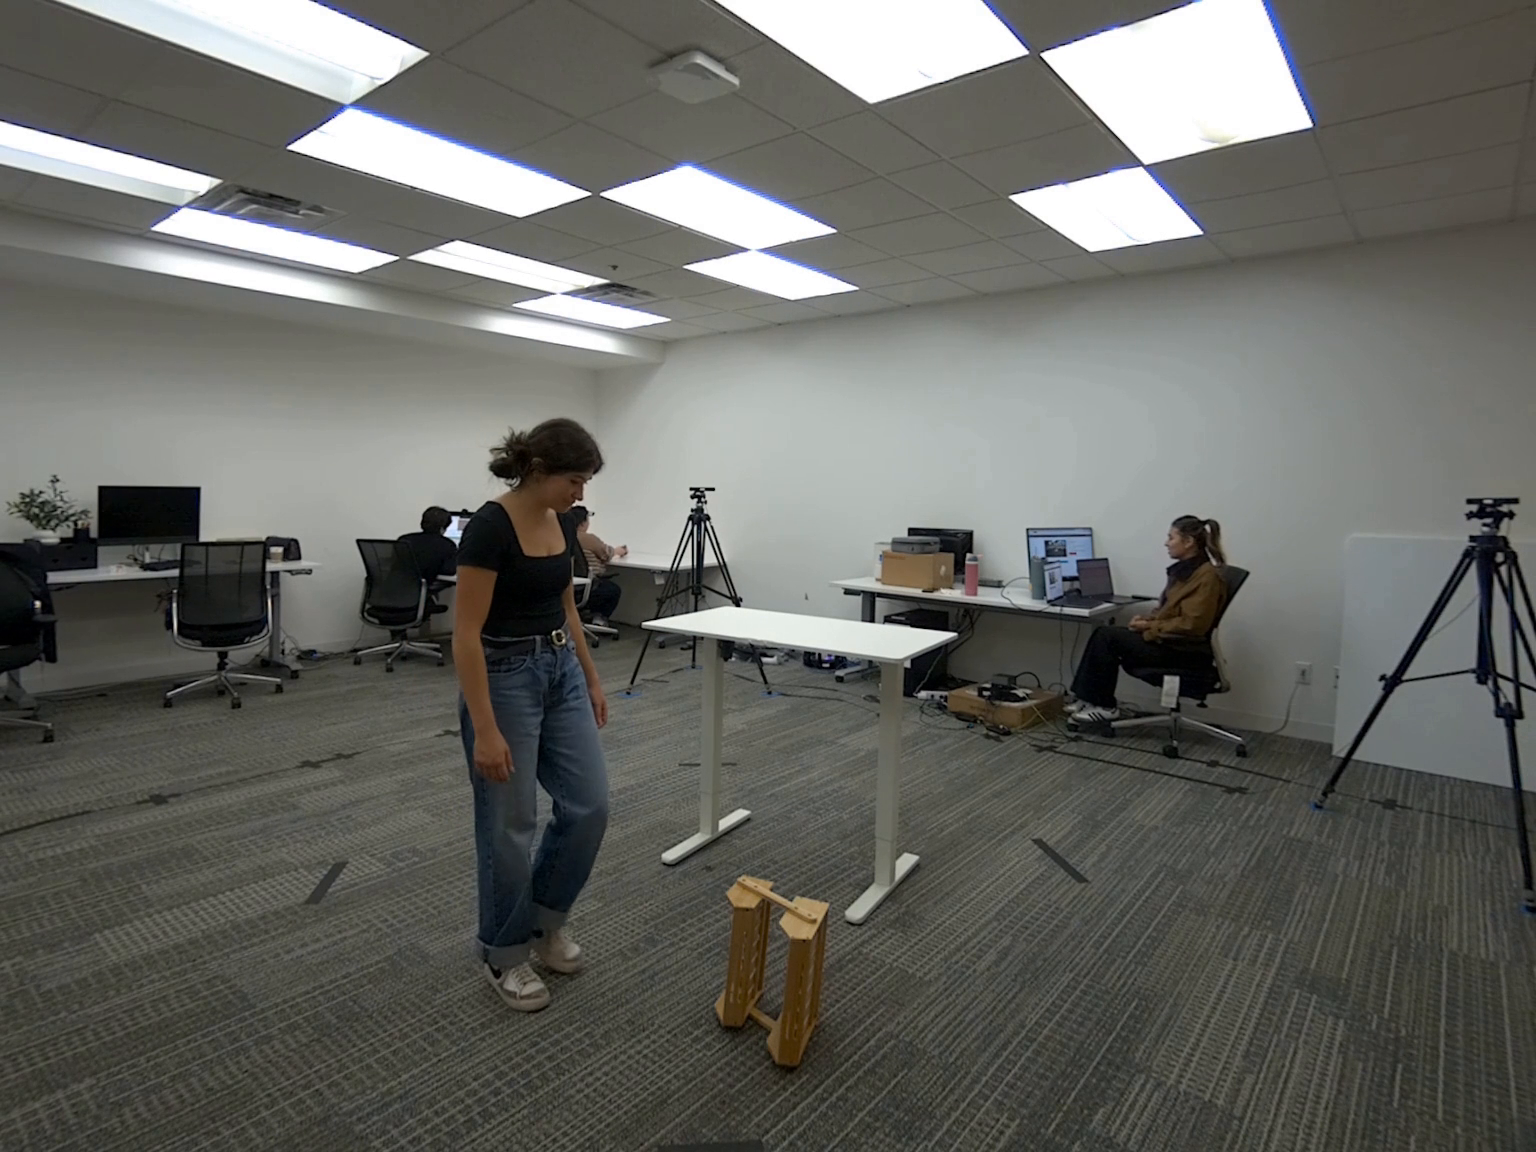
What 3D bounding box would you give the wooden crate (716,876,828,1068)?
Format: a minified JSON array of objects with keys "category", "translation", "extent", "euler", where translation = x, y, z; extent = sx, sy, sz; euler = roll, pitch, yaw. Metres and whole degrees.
[{"category":"wooden crate","translation":[-0.012,1.002,2.182],"extent":[0.279,0.325,0.296],"euler":[5,0,17]}]
